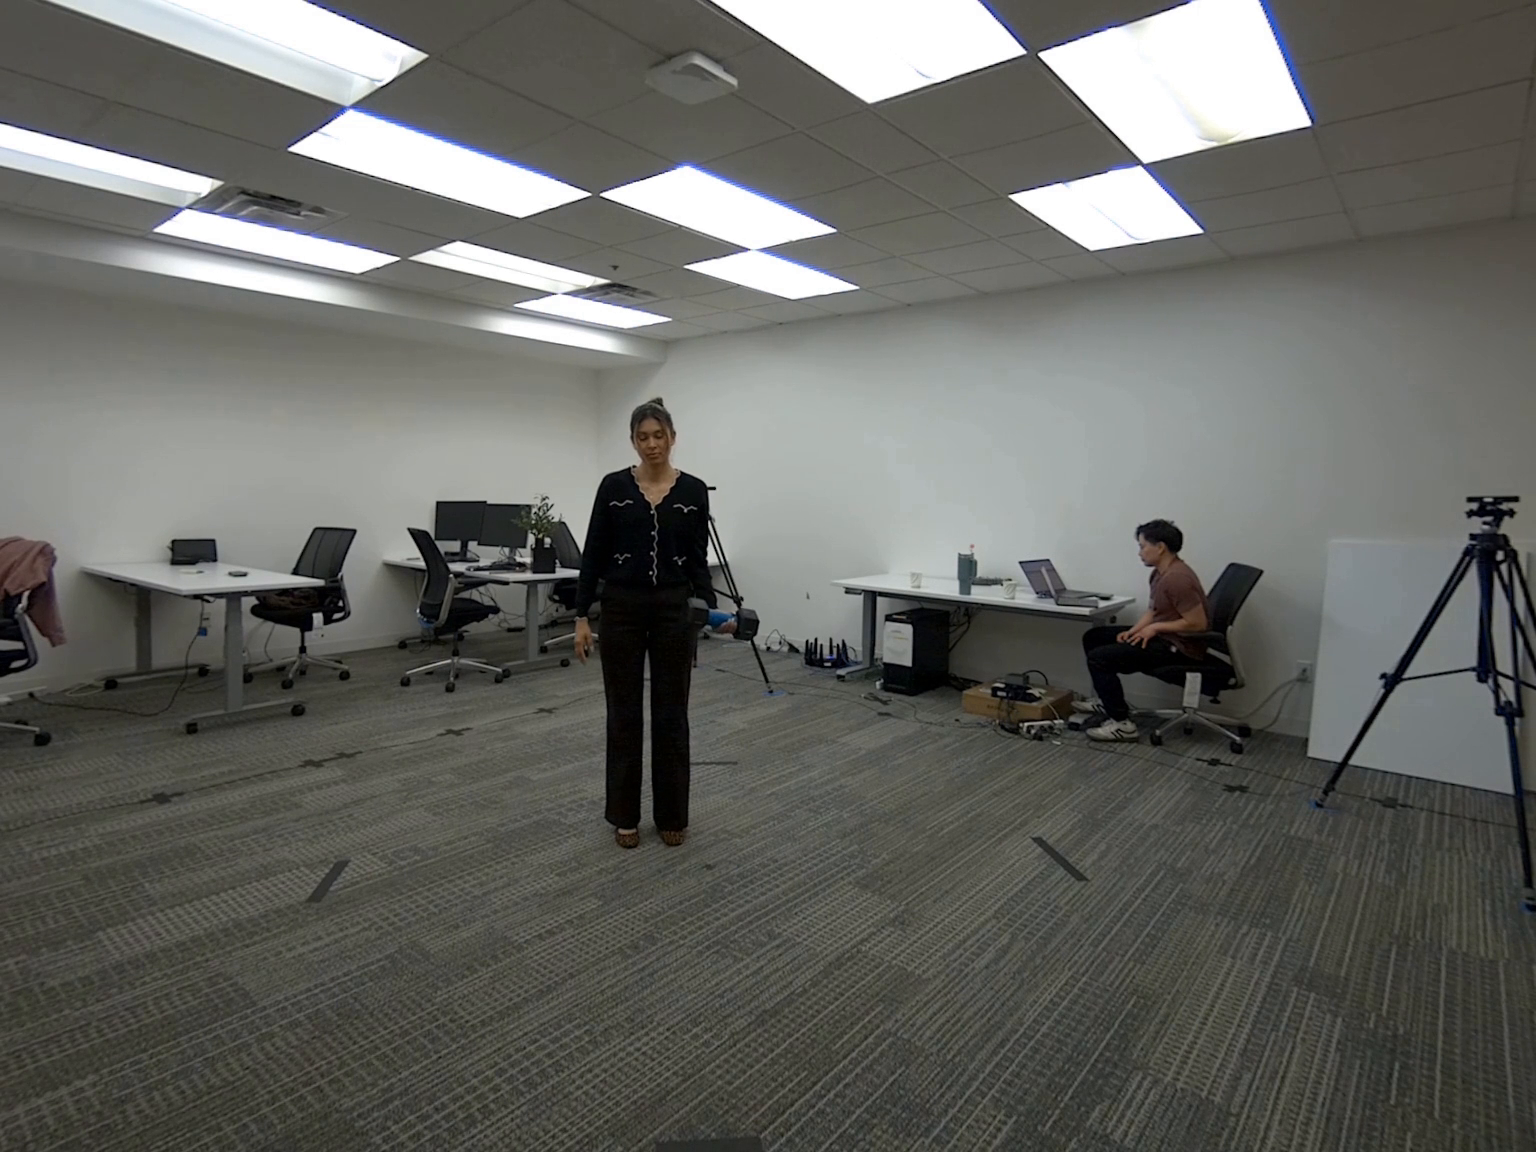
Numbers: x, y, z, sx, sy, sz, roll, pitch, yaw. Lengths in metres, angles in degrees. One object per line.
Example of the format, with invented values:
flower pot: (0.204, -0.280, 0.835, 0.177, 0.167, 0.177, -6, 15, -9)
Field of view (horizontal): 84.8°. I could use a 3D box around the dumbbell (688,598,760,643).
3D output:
dumbbell: (-0.193, 0.158, 3.203, 0.286, 0.107, 0.127, 13, 26, -22)
